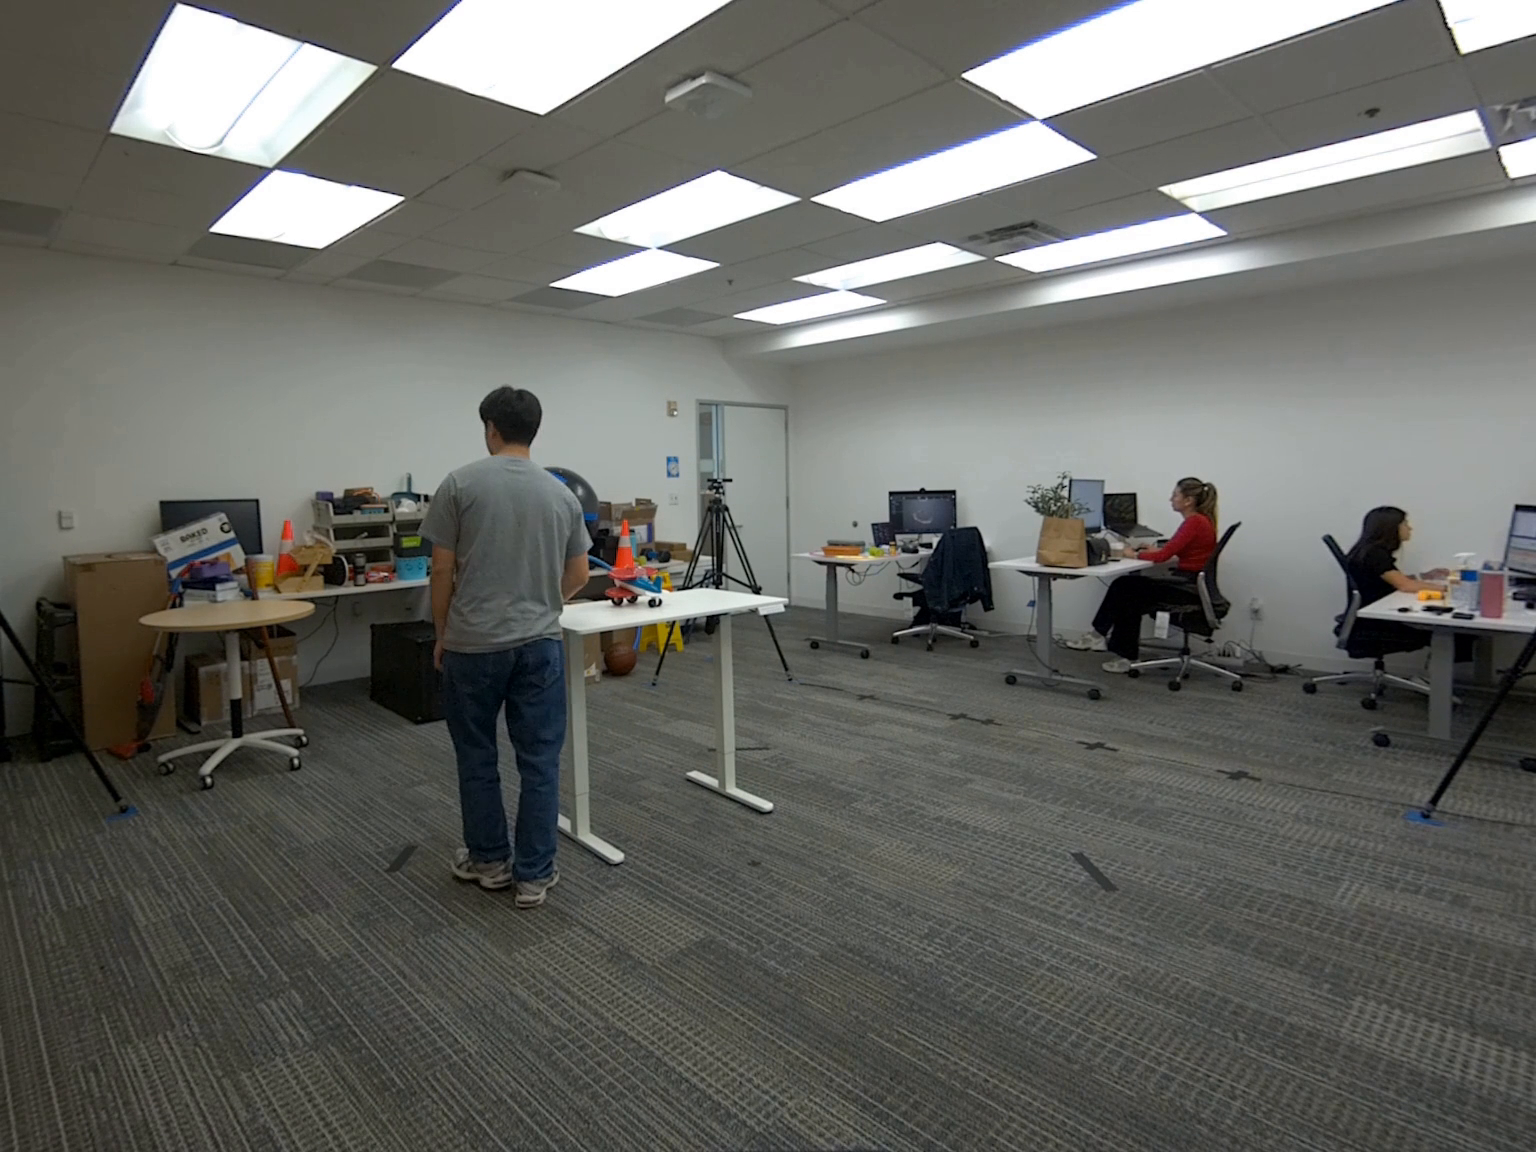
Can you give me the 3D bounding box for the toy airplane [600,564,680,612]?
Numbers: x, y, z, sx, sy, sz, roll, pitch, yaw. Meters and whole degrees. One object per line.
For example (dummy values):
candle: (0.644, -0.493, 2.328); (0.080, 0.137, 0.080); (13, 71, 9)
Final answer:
toy airplane: (-0.530, 0.044, 3.559); (0.262, 0.156, 0.250); (-2, 6, 10)
